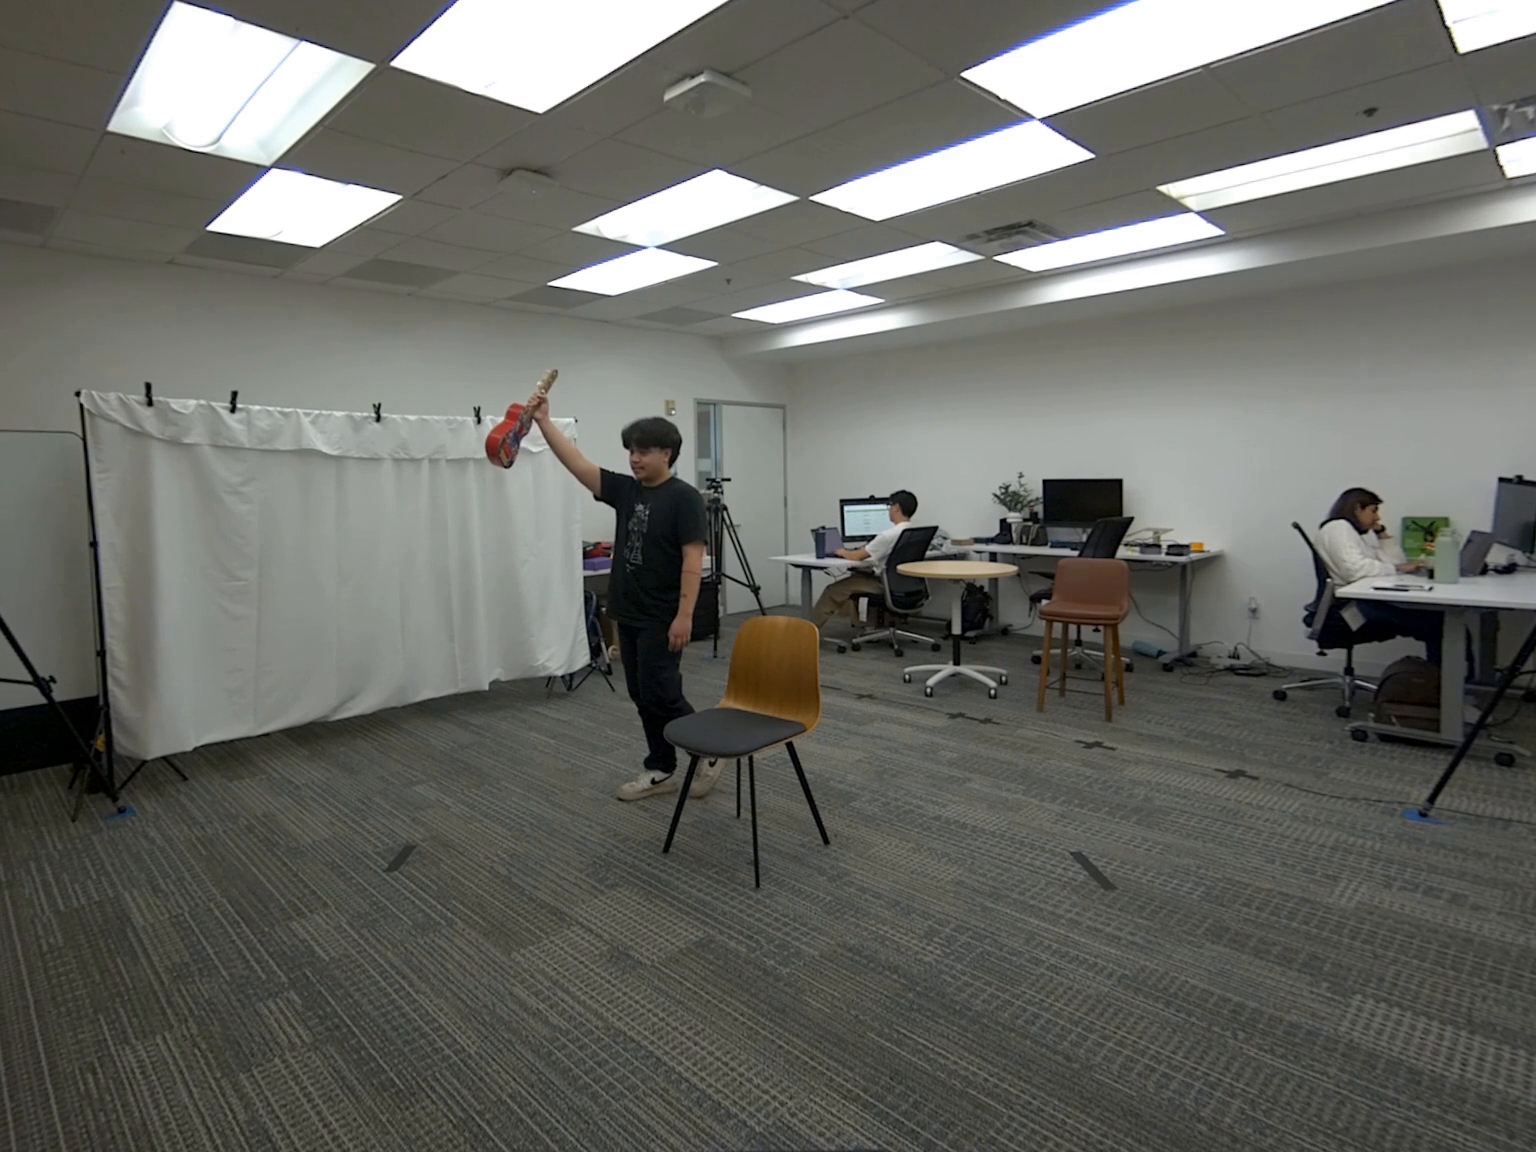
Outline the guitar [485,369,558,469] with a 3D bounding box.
[{"bbox_3d":[-1.018,-0.664,3.590,0.072,0.503,0.188,18,-31,10],"label":"guitar"}]
